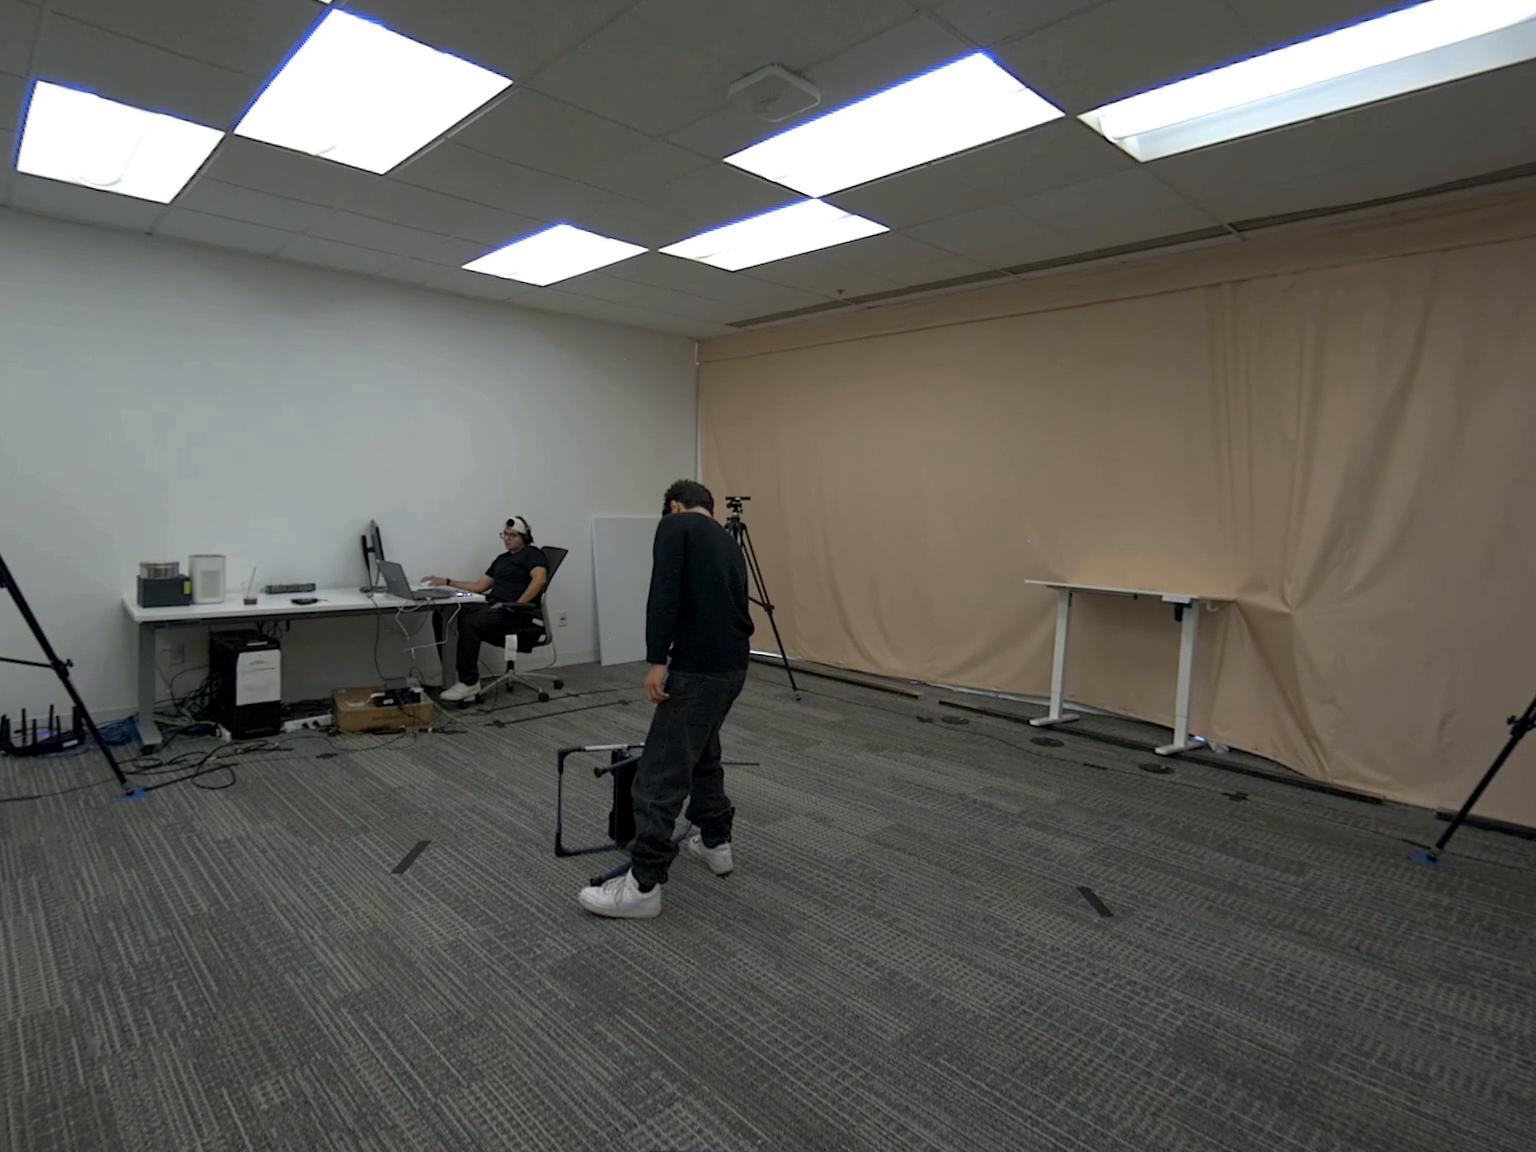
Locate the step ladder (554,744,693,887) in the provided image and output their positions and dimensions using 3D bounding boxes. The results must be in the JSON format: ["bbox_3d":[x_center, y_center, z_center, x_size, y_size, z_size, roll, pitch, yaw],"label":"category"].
[{"bbox_3d":[-0.486,0.876,3.279,0.592,0.430,0.358,0,4,-39],"label":"step ladder"}]
